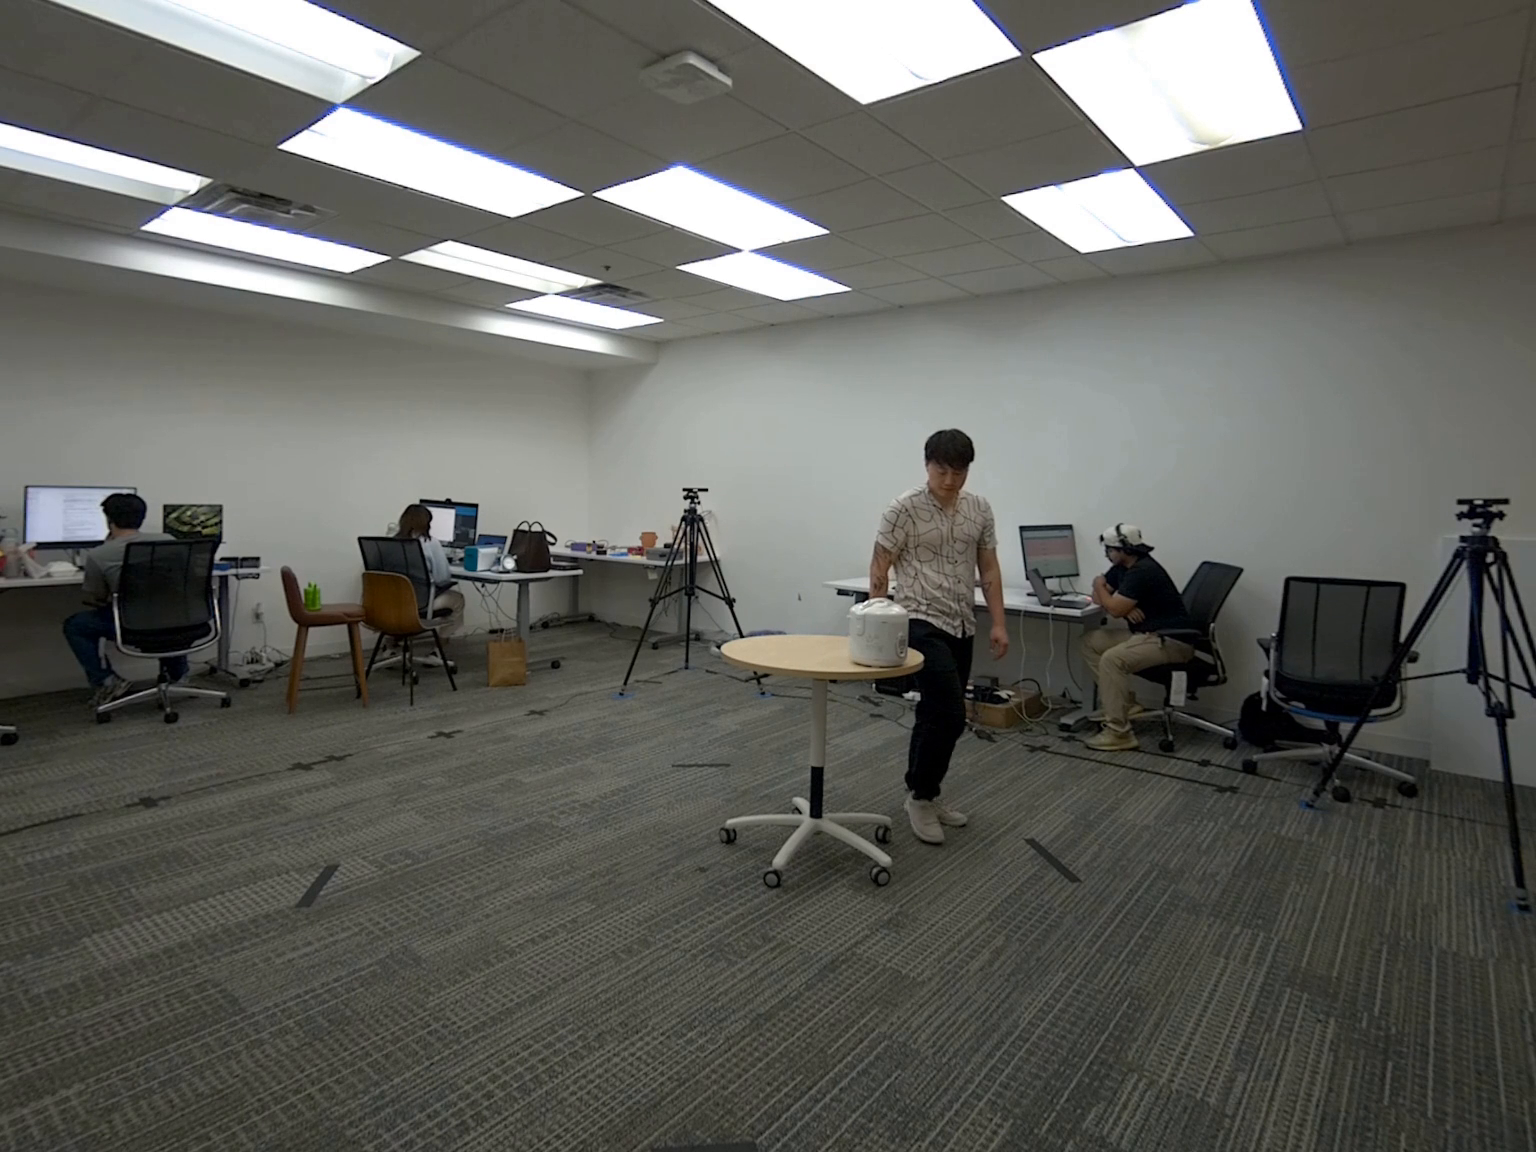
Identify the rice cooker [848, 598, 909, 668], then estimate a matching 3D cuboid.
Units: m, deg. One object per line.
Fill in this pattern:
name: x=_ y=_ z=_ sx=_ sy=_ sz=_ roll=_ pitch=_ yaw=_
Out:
rice cooker: x=0.389 y=0.192 z=3.022 sx=0.214 sy=0.232 sz=0.225 roll=-3 pitch=5 yaw=-42
